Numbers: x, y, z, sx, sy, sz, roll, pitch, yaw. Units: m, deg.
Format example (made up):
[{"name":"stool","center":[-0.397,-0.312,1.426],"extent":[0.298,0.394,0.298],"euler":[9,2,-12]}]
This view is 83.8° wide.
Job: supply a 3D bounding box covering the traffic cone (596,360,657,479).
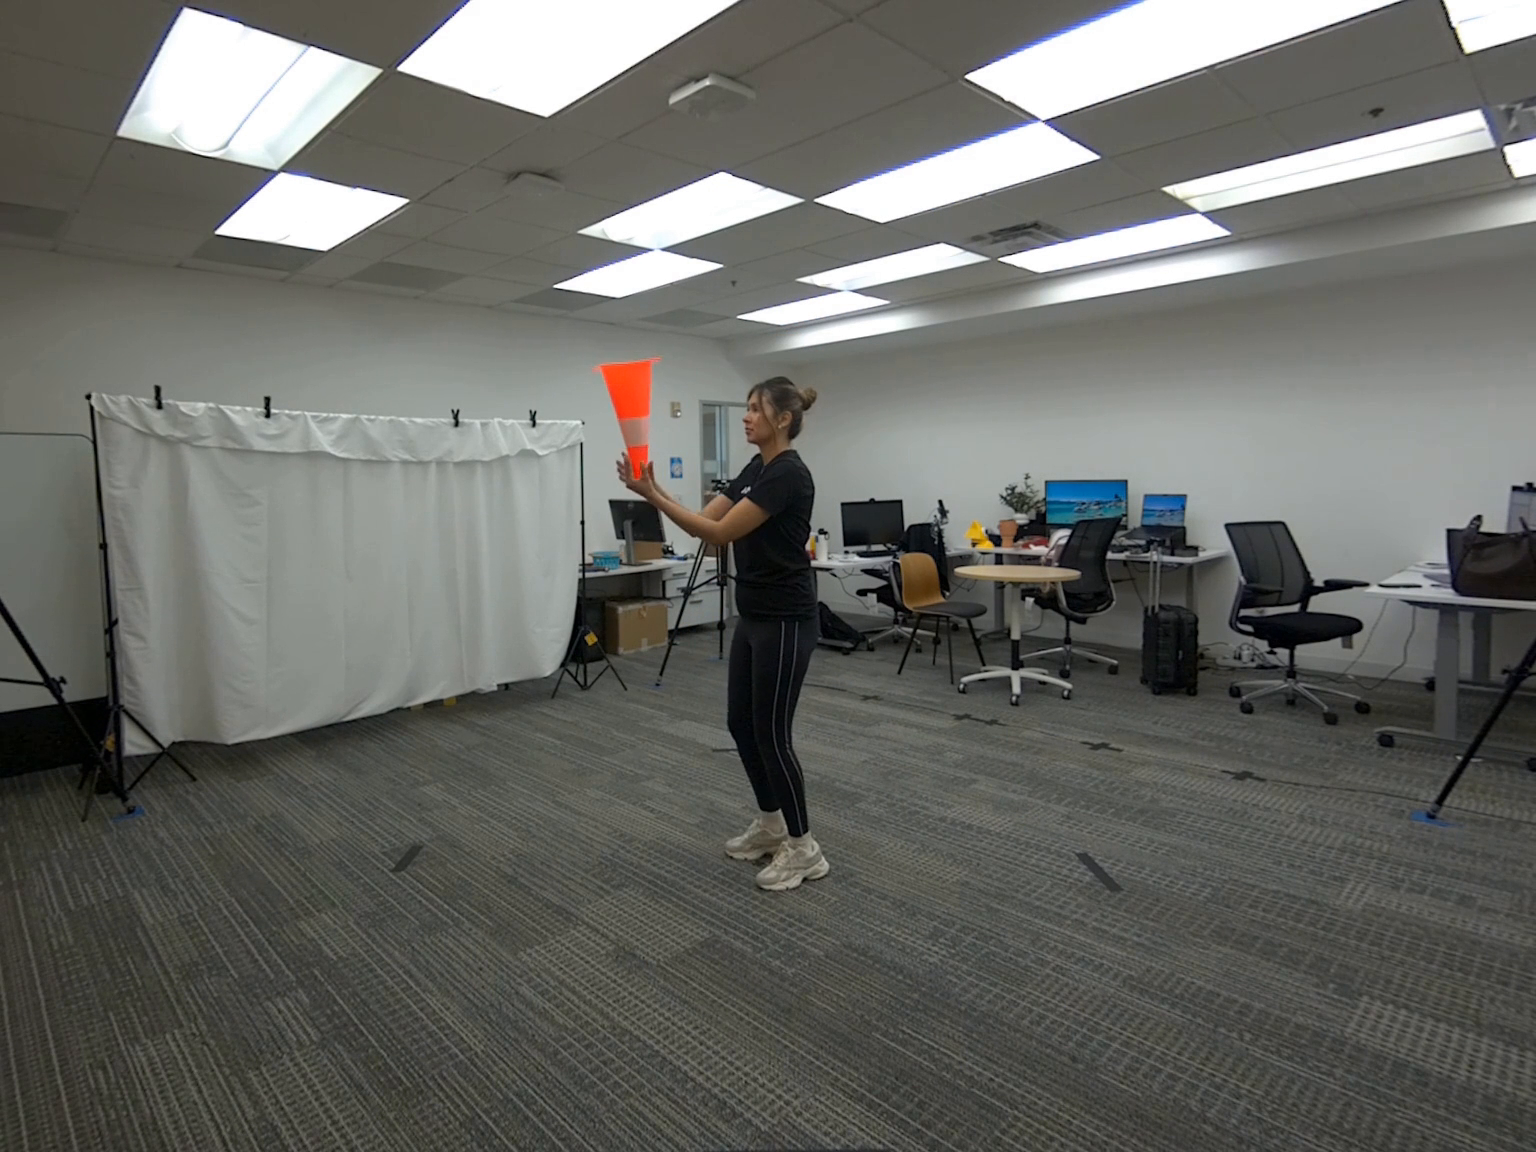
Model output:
[{"name":"traffic cone","center":[-0.432,-0.475,2.703],"extent":[0.203,0.380,0.207],"euler":[-8,9,-13]}]
